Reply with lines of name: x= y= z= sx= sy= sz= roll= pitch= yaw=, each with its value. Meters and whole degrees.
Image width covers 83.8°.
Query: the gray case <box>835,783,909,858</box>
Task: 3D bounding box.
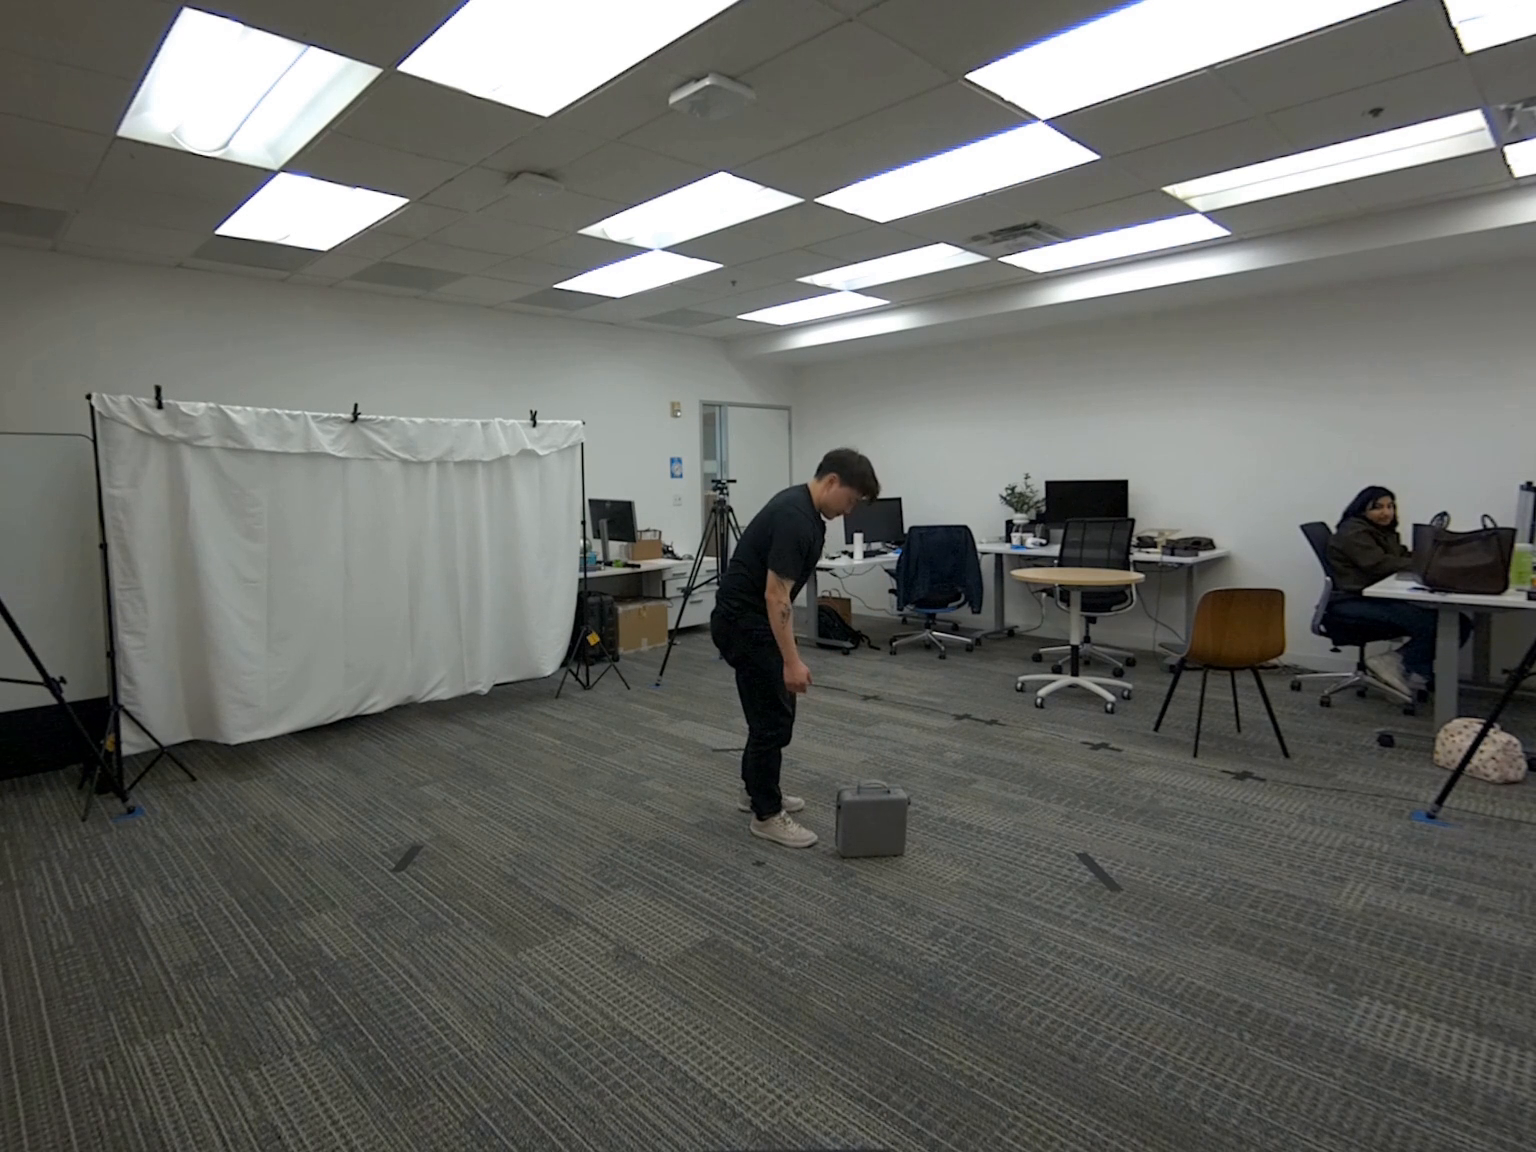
gray case: x=0.388 y=0.900 z=3.155 sx=0.256 sy=0.258 sz=0.106 roll=-1 pitch=12 yaw=-3
